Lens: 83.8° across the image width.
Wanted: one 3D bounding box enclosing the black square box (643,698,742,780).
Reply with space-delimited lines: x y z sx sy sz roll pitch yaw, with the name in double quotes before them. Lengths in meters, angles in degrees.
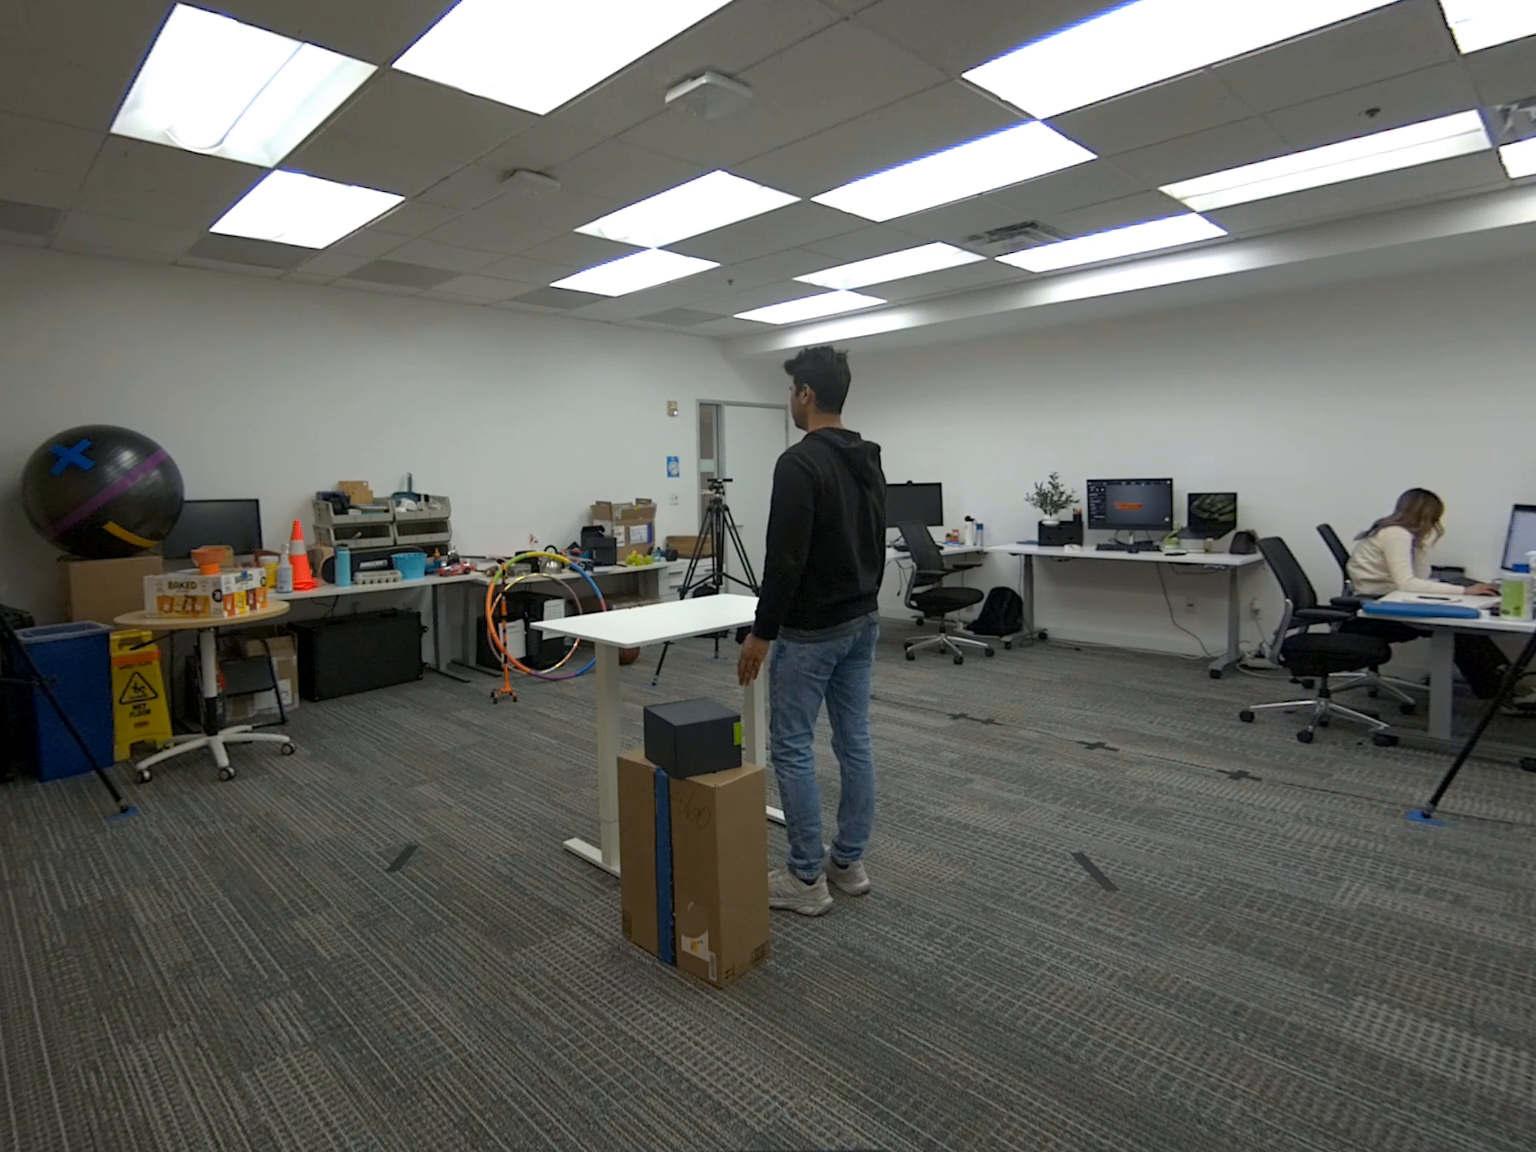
"black square box" -0.223 0.474 2.520 0.212 0.155 0.234 -4 7 -30
